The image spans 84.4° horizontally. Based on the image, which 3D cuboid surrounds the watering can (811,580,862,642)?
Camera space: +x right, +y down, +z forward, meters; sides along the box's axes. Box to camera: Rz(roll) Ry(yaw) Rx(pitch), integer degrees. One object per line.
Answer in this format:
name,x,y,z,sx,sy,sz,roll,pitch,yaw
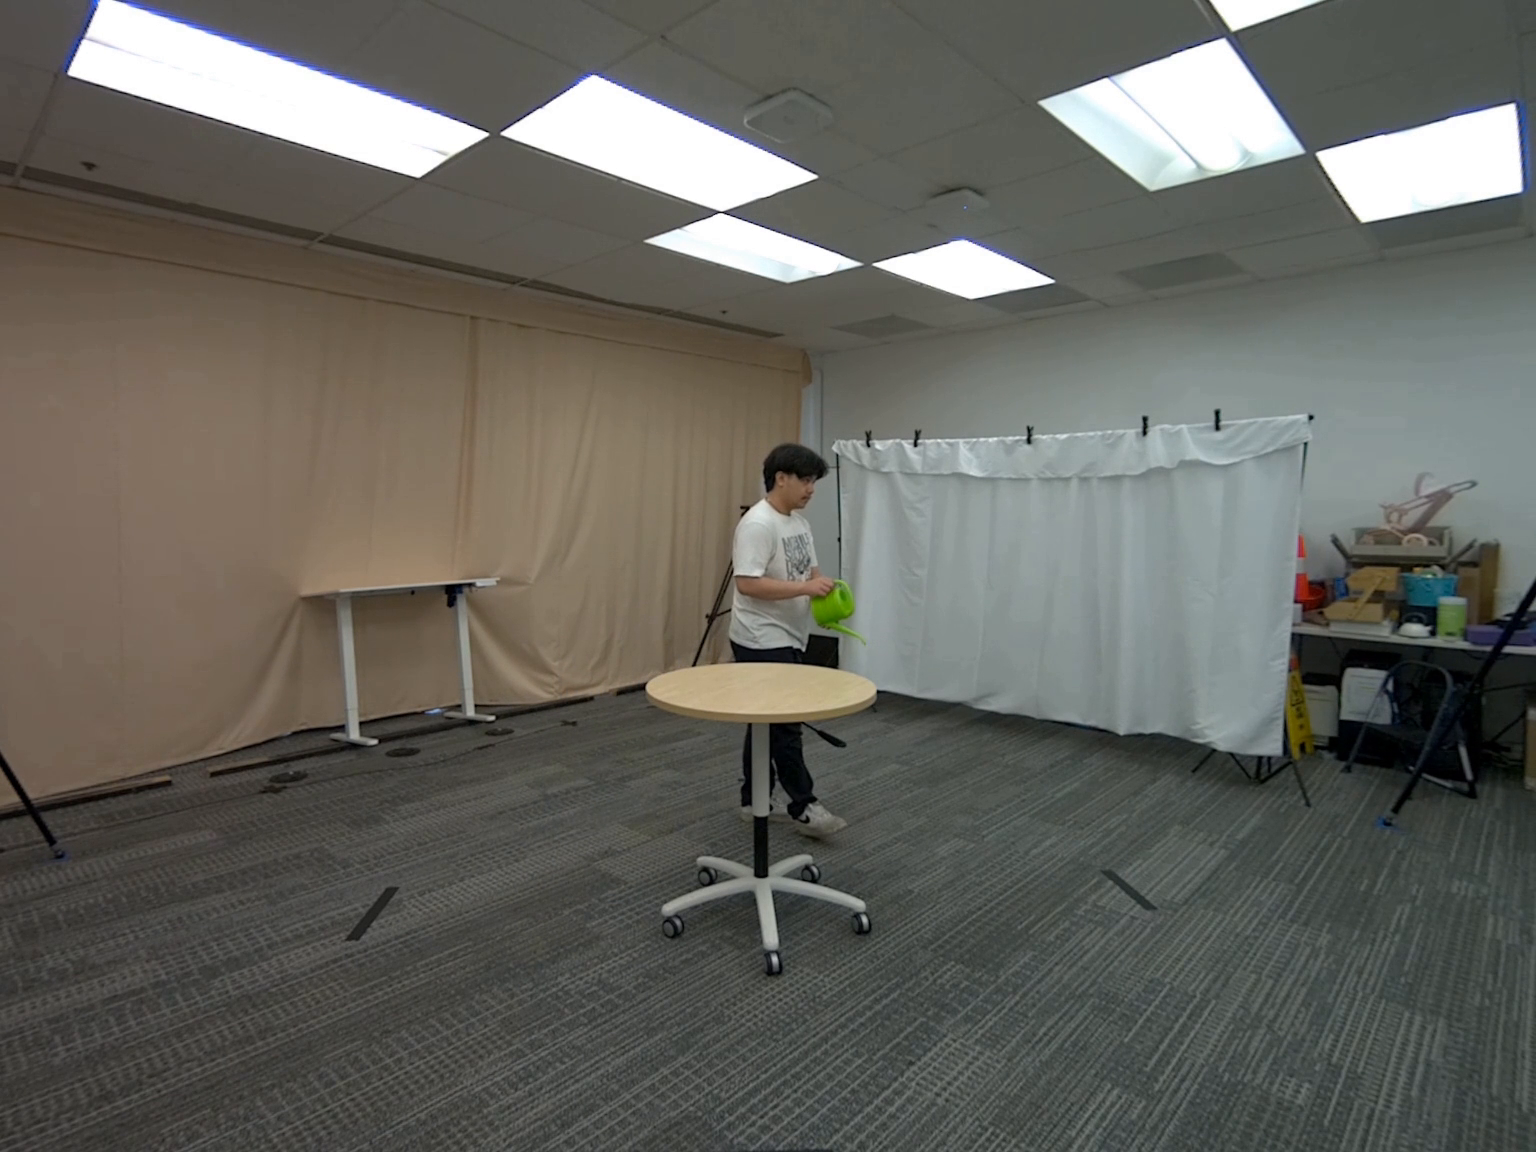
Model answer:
watering can,0.281,0.161,3.398,0.180,0.282,0.094,-23,-23,35
